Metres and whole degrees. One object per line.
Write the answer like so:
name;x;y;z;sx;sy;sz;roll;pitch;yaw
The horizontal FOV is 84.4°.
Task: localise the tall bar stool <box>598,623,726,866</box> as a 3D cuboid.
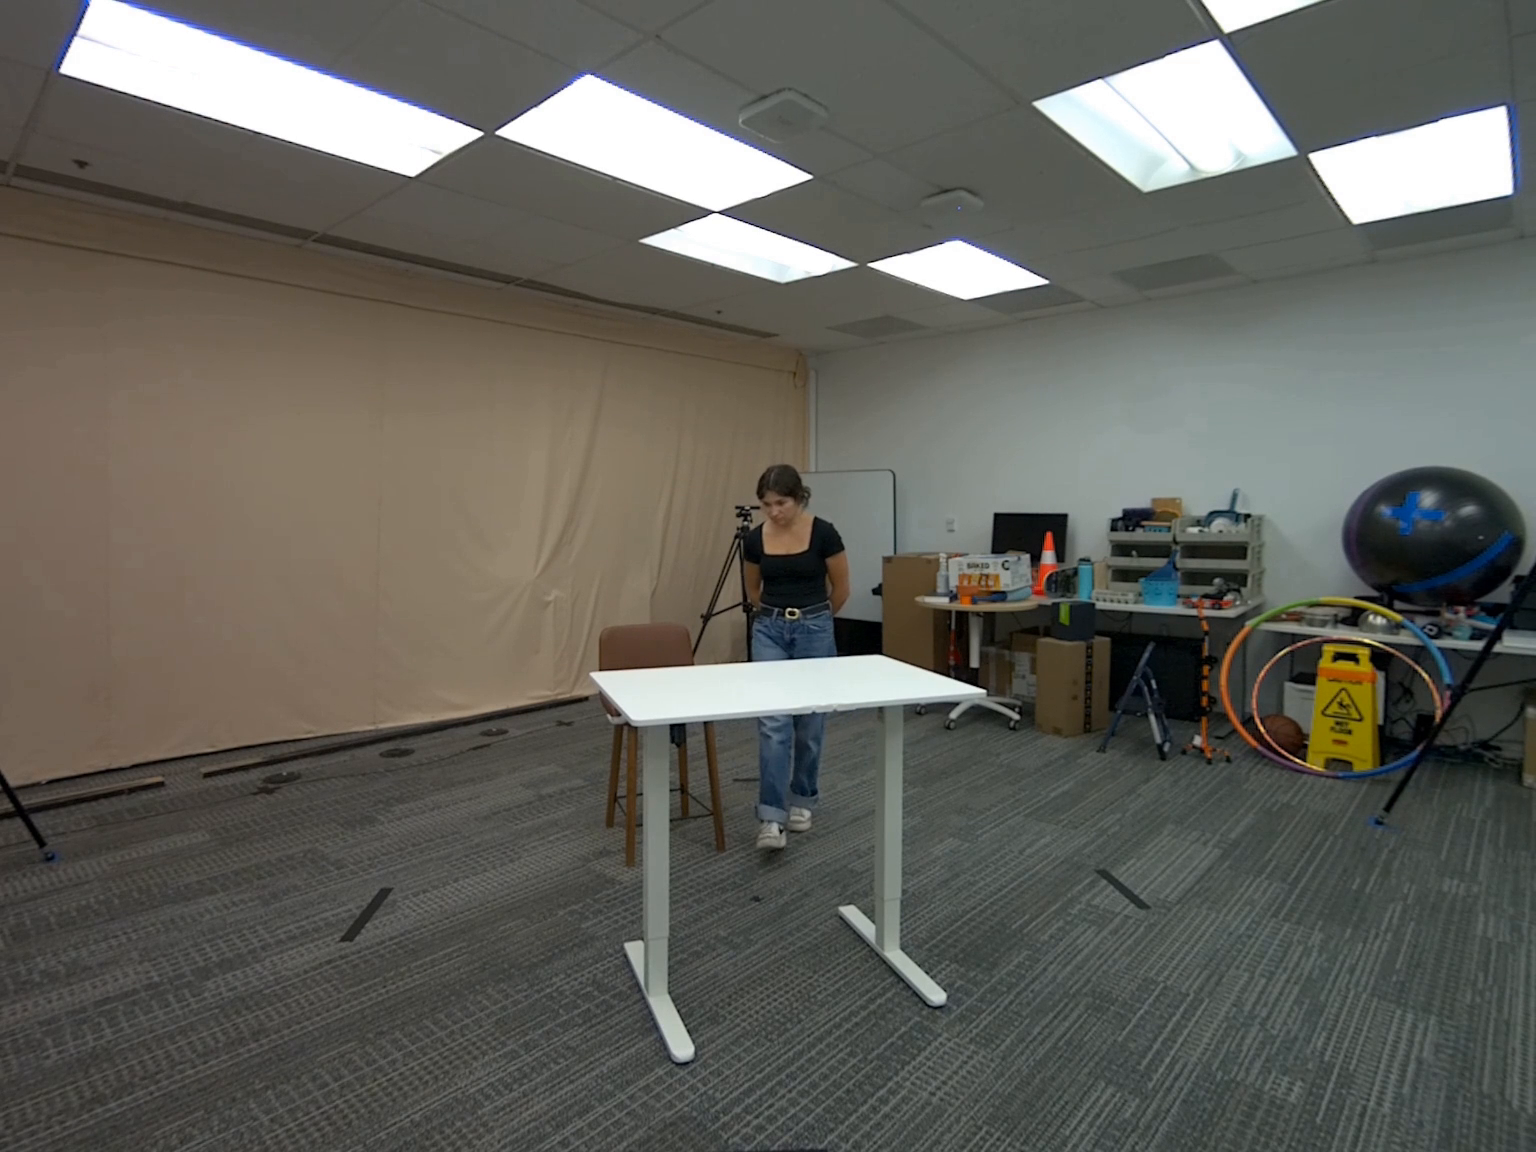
tall bar stool;-0.456;0.670;3.515;0.447;0.889;0.478;-2;2;-22
